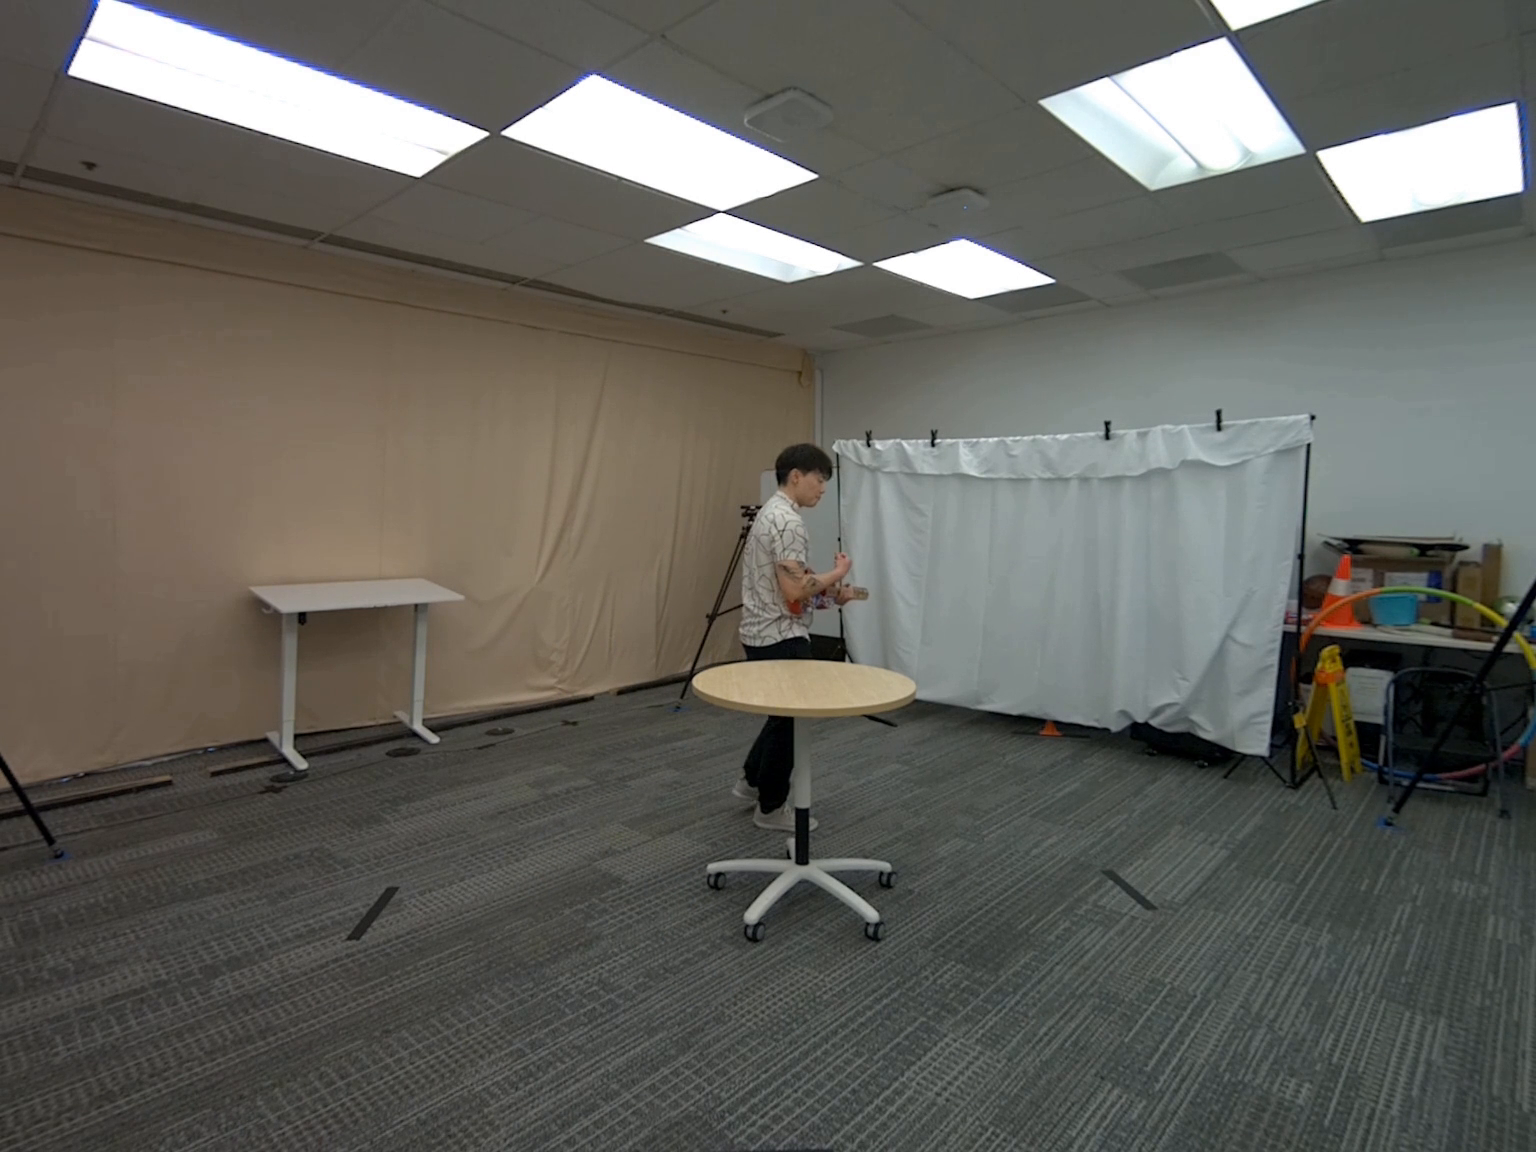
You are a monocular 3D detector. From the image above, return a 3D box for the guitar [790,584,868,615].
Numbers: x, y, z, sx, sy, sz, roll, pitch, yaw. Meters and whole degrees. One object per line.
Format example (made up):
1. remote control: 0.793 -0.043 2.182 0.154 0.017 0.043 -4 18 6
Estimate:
1. guitar: 0.261 0.099 3.591 0.073 0.194 0.480 0 -12 45
